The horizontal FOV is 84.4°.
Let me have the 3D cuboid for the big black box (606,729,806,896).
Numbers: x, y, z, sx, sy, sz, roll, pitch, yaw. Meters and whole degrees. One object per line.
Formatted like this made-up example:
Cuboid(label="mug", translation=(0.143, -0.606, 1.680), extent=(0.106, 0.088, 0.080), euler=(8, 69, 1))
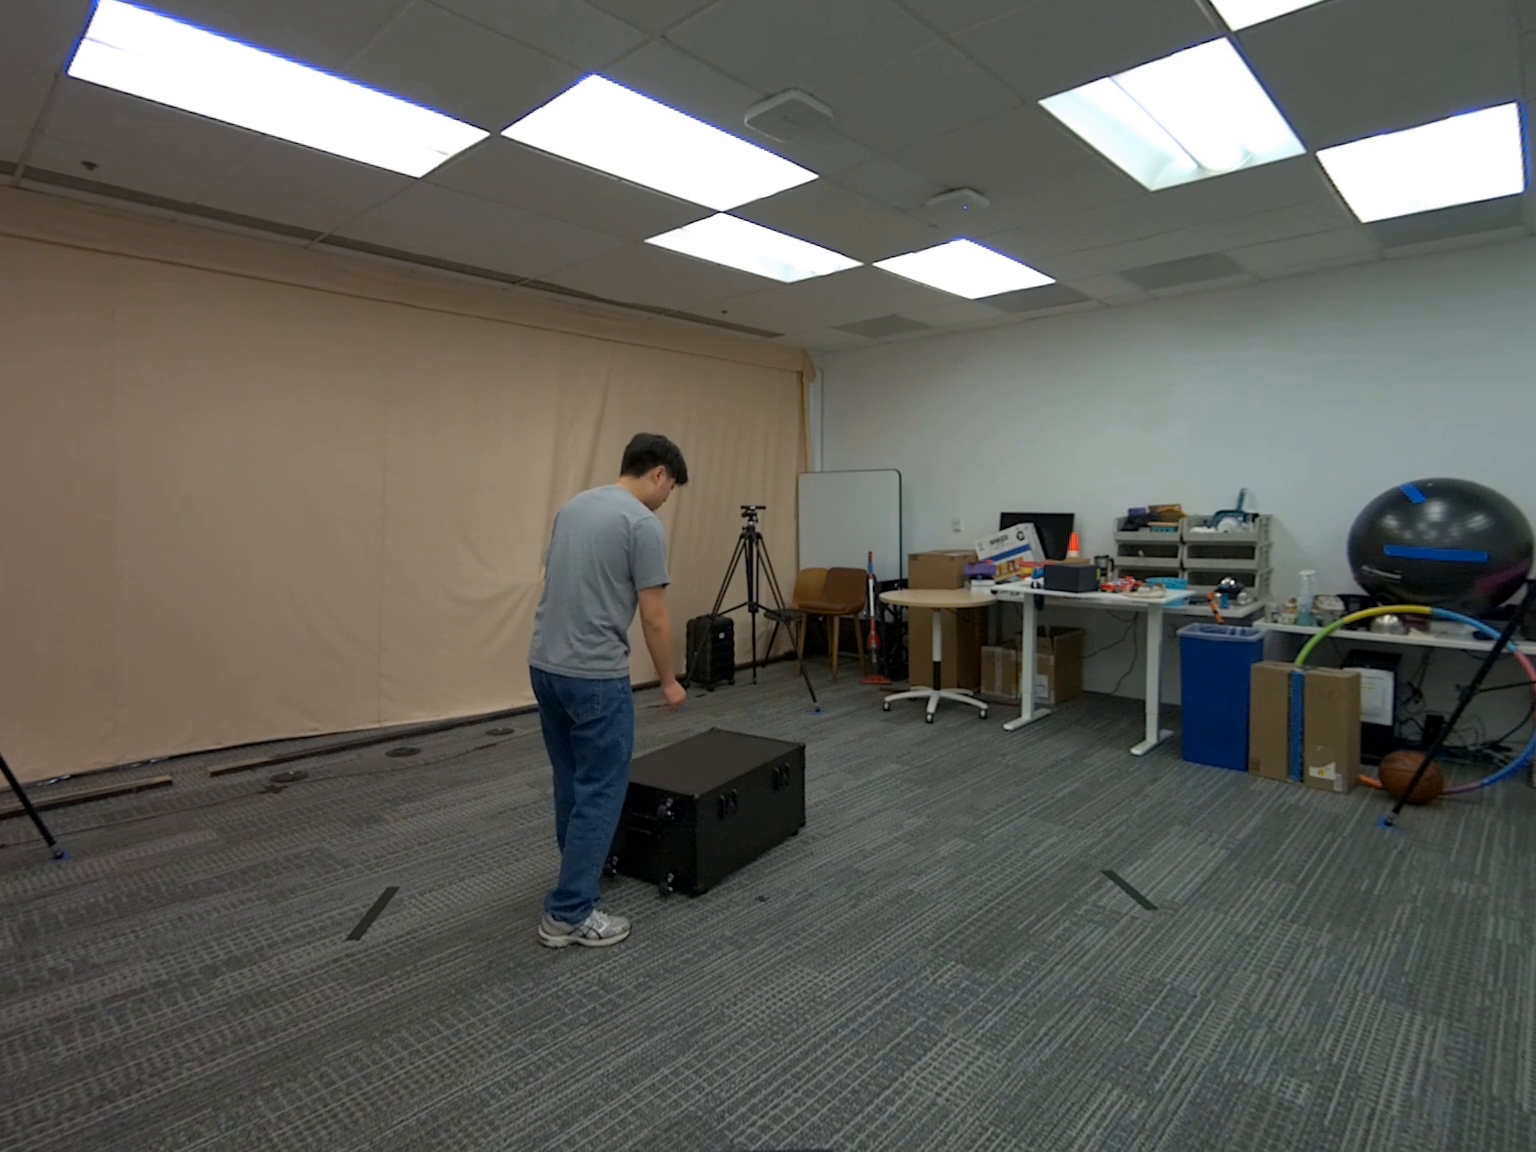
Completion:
Cuboid(label="big black box", translation=(-0.260, 0.921, 3.381), extent=(0.537, 0.395, 0.838), euler=(2, 6, 33))
